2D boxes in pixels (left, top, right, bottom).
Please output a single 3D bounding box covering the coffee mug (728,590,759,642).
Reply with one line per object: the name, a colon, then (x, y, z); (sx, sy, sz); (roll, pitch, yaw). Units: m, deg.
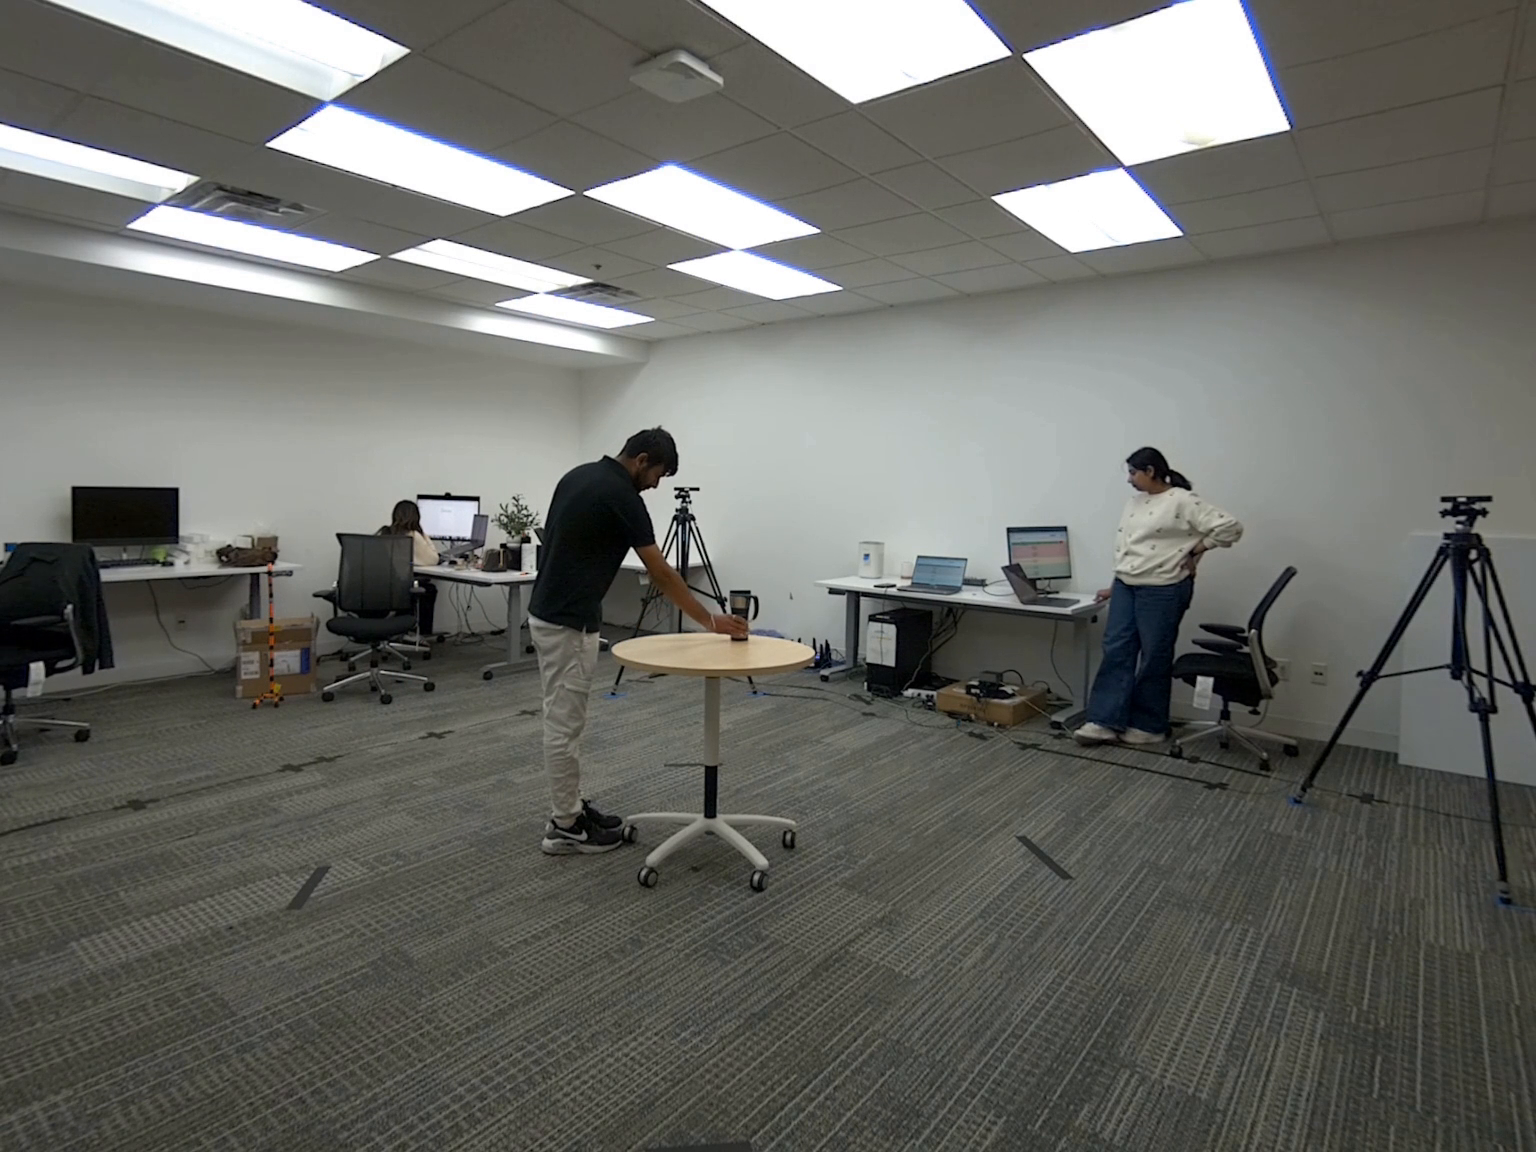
coffee mug: (-0.110, 0.157, 3.417); (0.085, 0.203, 0.125); (2, -1, -34)
